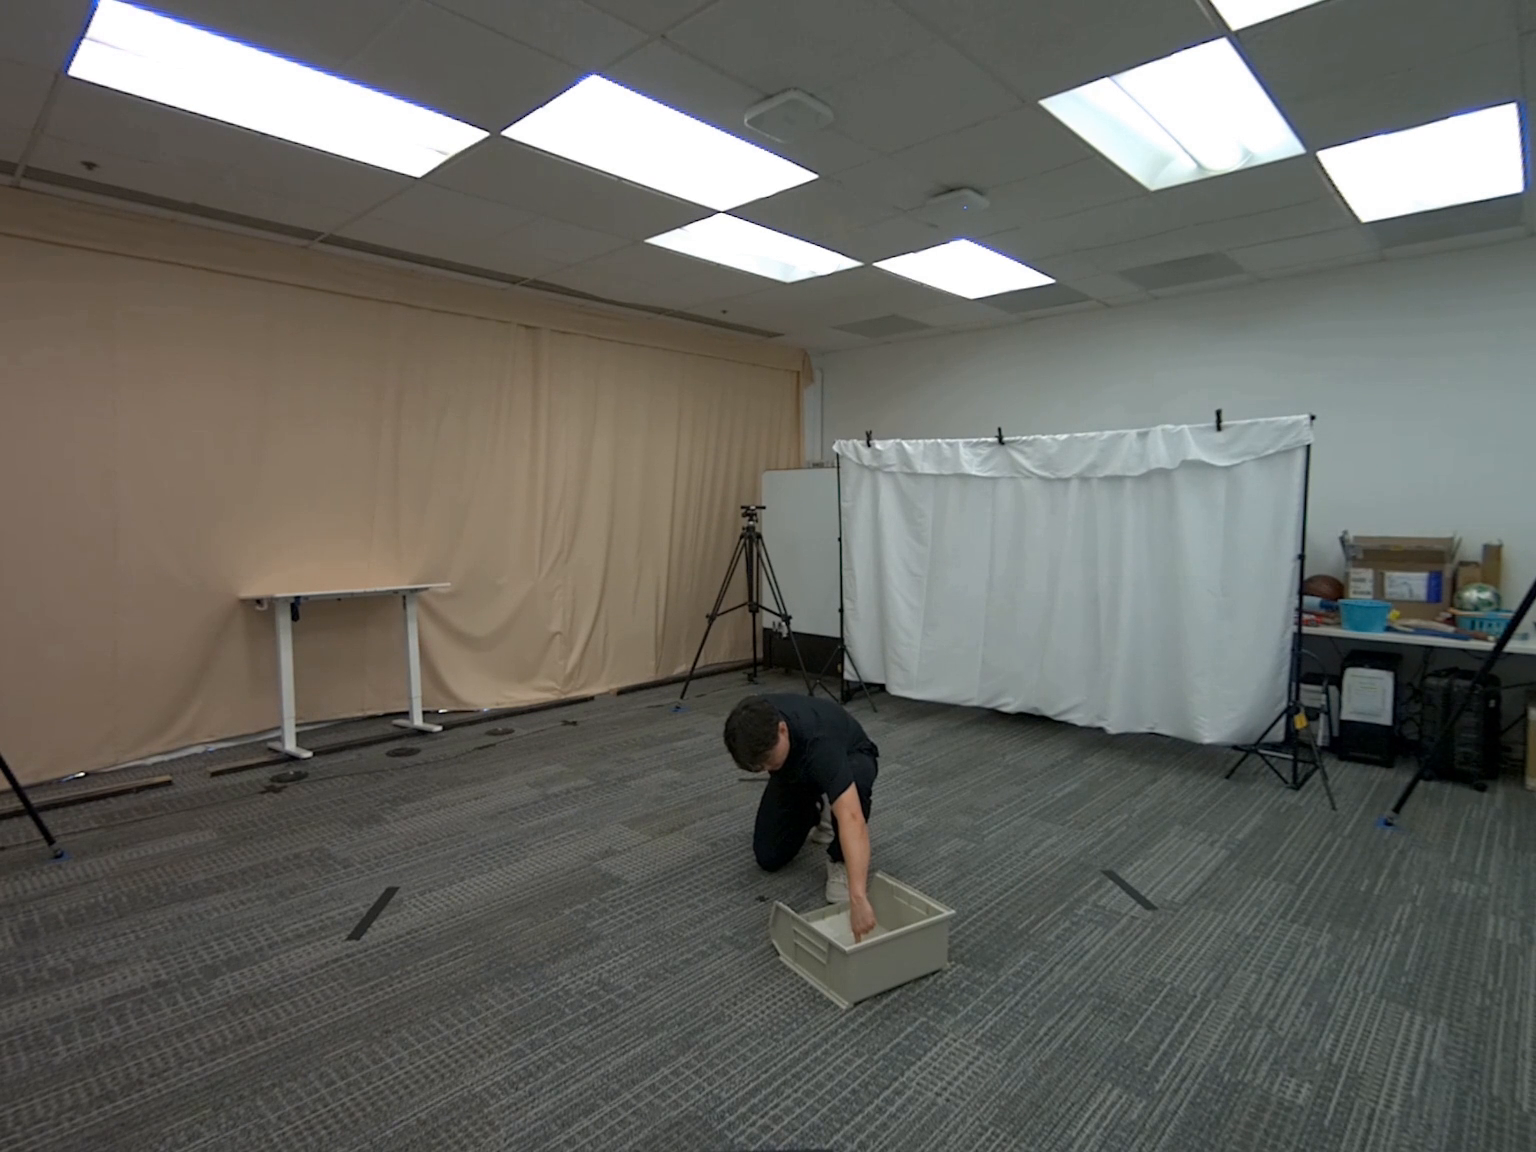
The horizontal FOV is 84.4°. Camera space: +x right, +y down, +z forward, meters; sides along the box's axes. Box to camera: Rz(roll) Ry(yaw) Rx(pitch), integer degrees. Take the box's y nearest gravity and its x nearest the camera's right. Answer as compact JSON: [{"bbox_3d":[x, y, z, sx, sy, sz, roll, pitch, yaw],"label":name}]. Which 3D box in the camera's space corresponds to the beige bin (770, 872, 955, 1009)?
[{"bbox_3d":[0.280,1.082,2.573,0.410,0.188,0.389,-2,5,-33],"label":"beige bin"}]
